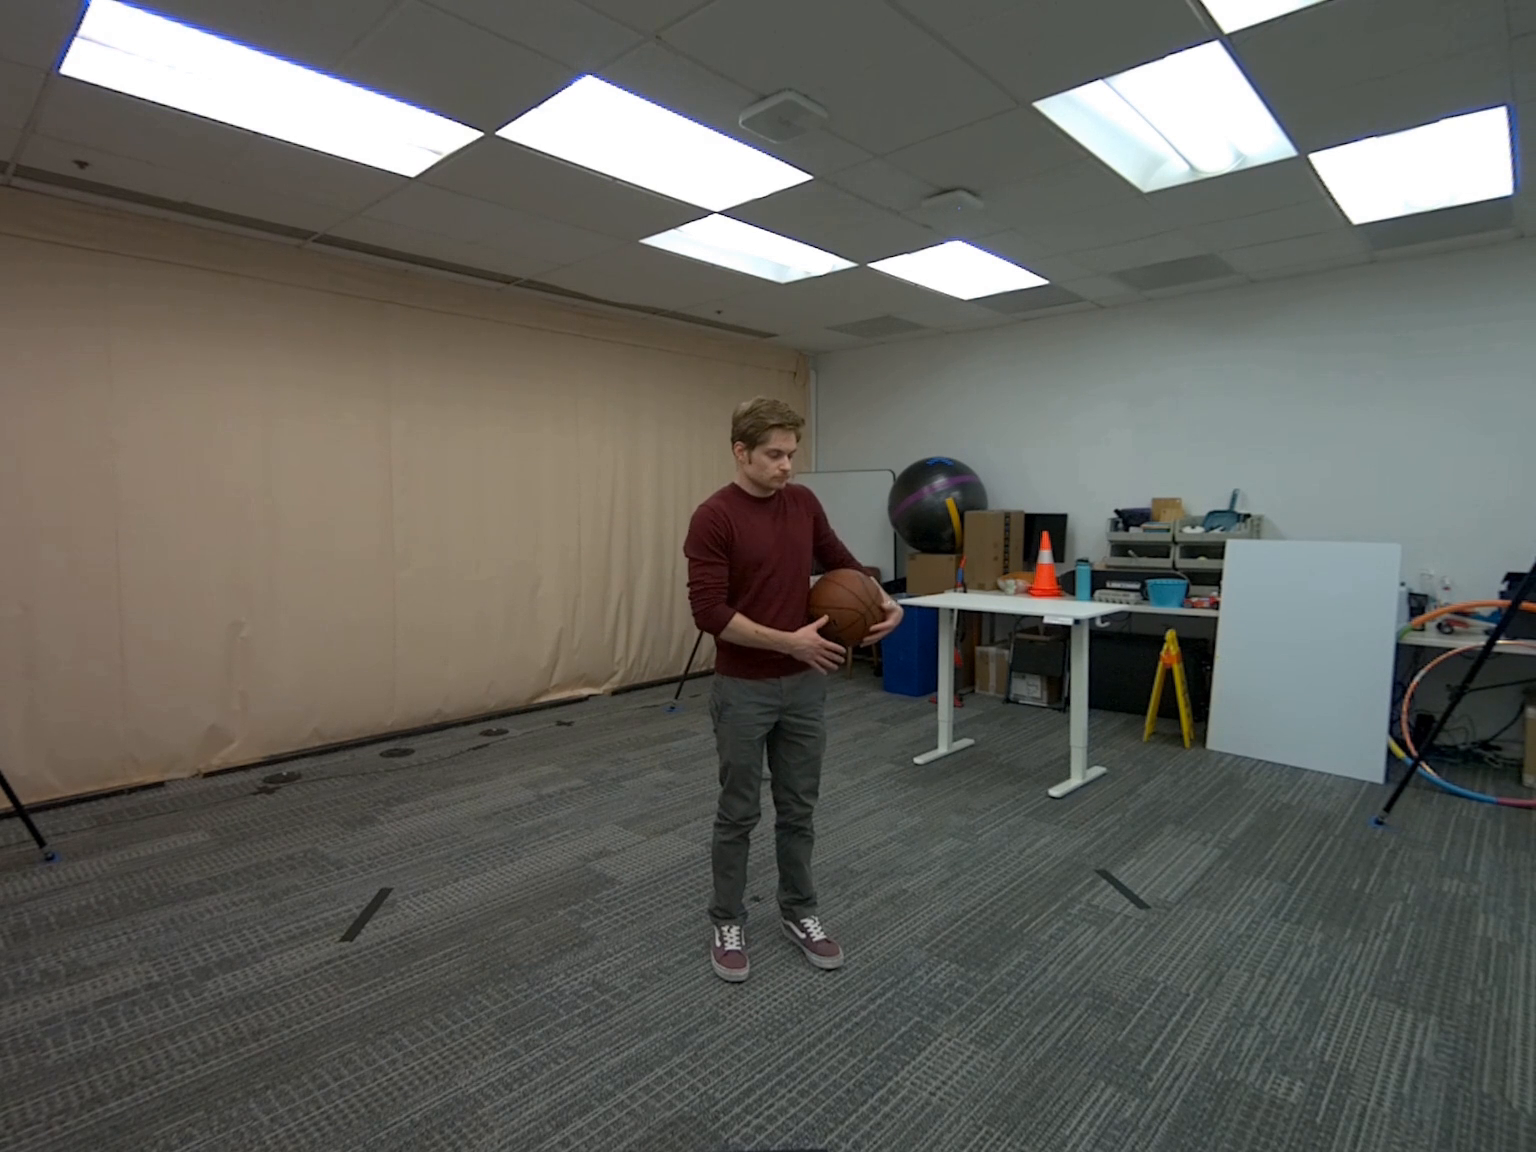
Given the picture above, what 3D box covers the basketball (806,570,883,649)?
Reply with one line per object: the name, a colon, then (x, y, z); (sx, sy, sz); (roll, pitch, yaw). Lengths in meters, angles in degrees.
basketball: (0.231, 0.105, 2.575); (0.236, 0.235, 0.237); (0, 4, -2)
